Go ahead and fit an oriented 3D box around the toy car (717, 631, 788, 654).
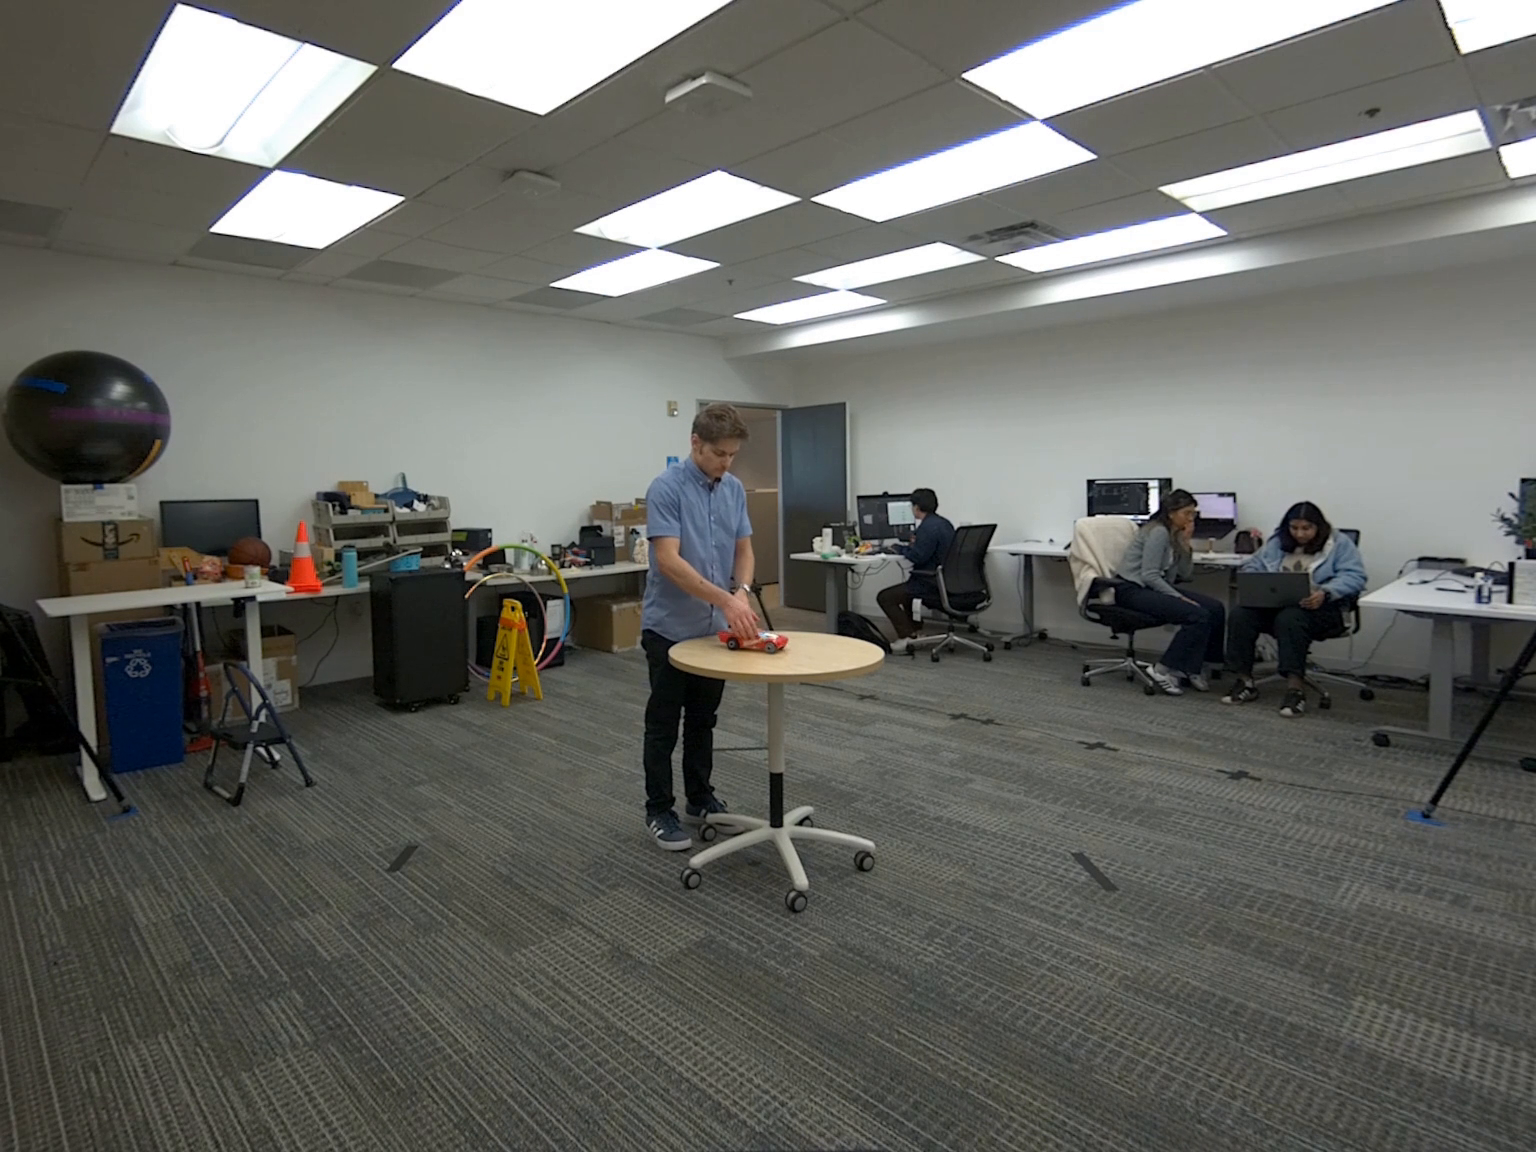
[{"bbox_3d":[-0.053,0.232,3.075,0.261,0.082,0.128,13,10,22],"label":"toy car"}]
